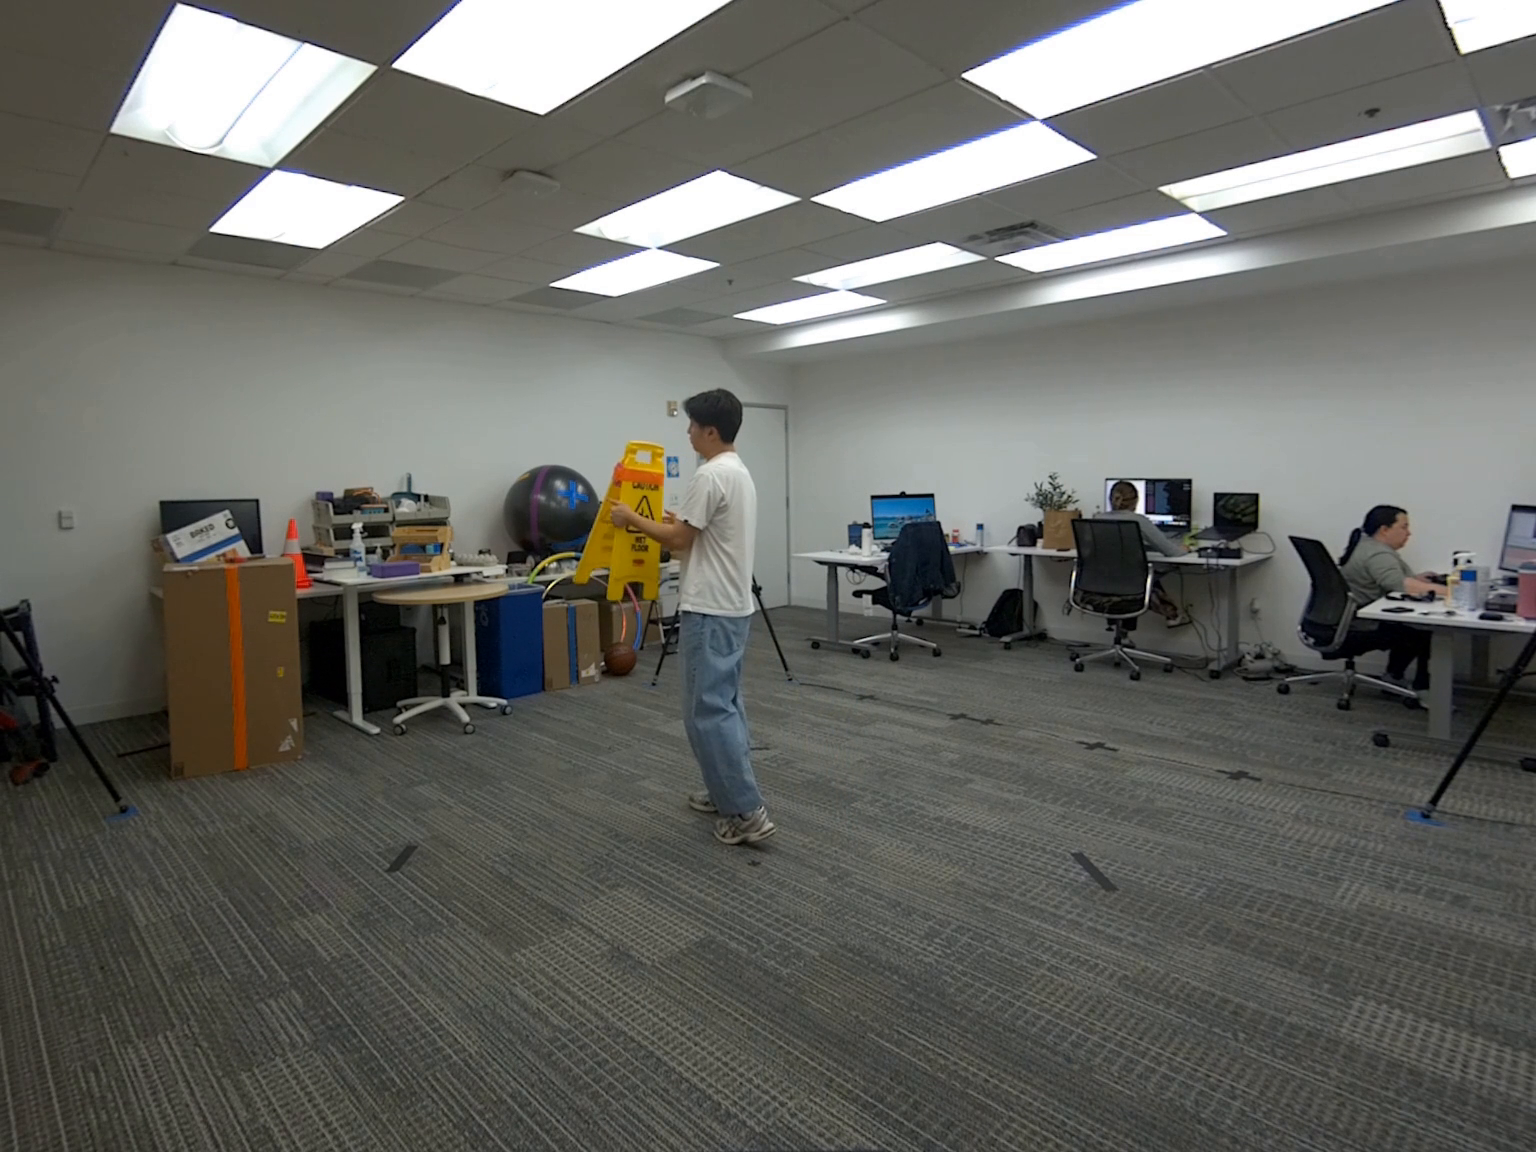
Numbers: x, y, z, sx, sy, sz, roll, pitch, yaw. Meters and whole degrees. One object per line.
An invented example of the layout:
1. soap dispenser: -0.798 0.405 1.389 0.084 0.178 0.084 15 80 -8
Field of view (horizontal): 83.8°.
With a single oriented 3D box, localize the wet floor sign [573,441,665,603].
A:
1. wet floor sign: -0.567 -0.238 3.620 0.300 0.642 0.274 20 11 39
